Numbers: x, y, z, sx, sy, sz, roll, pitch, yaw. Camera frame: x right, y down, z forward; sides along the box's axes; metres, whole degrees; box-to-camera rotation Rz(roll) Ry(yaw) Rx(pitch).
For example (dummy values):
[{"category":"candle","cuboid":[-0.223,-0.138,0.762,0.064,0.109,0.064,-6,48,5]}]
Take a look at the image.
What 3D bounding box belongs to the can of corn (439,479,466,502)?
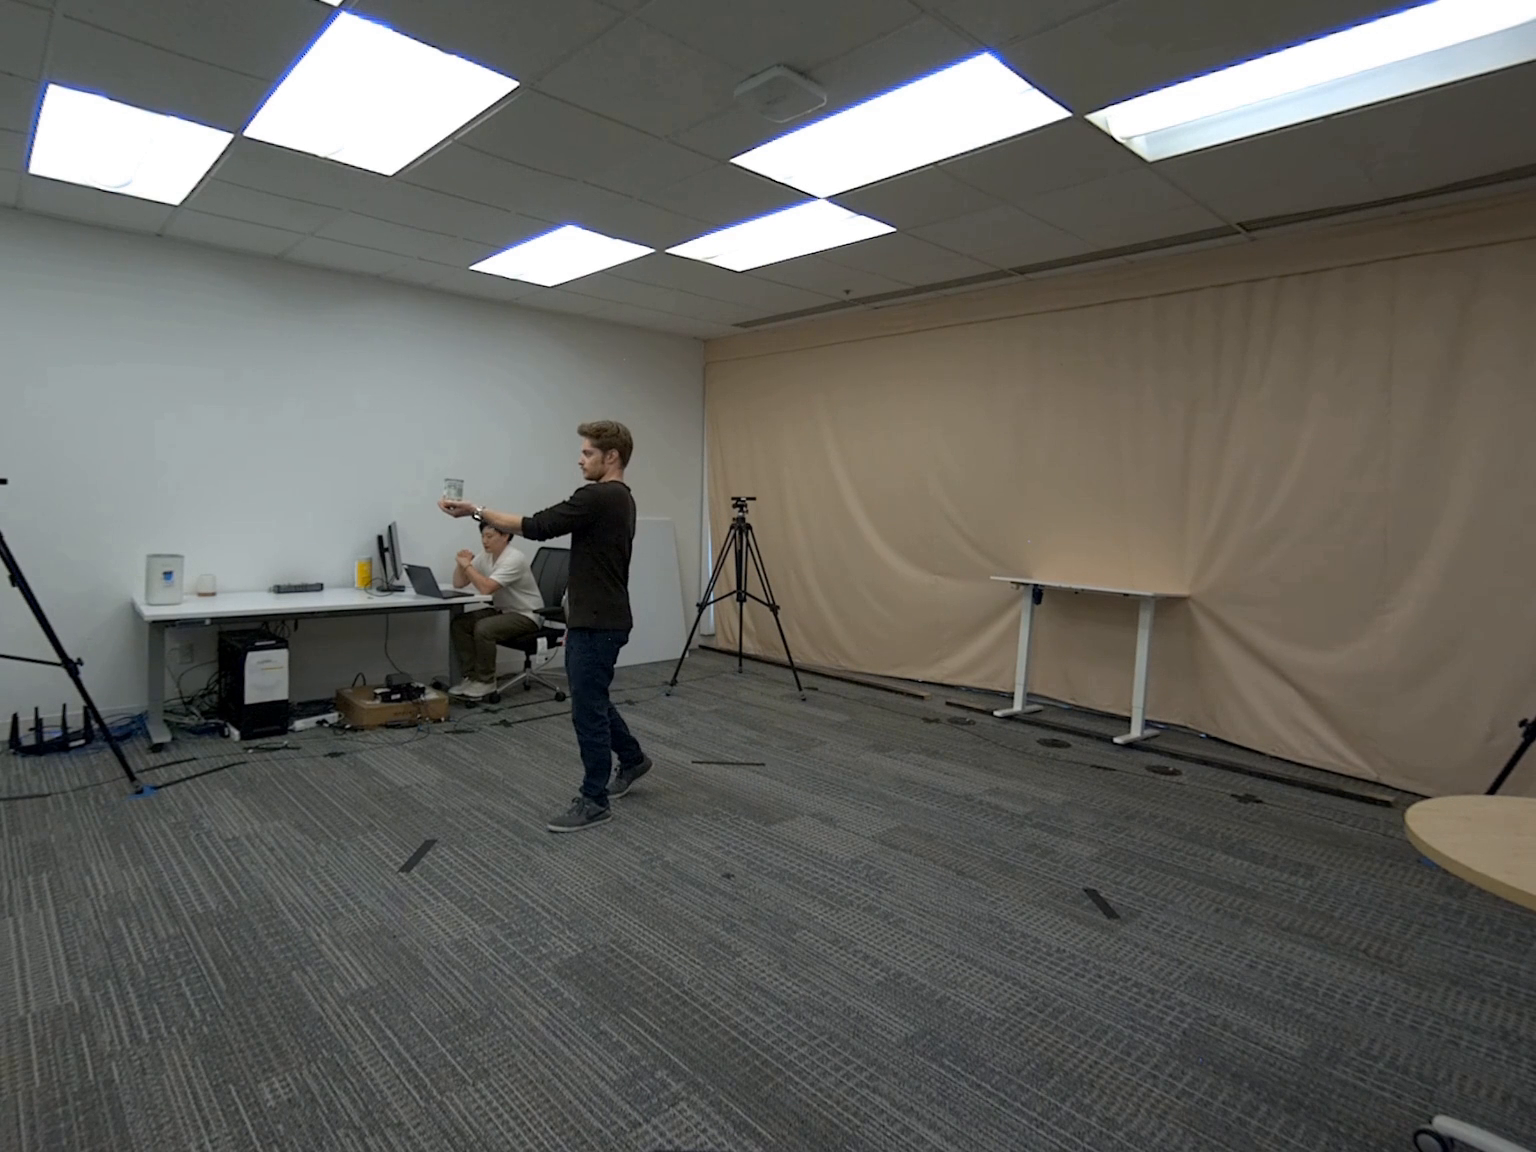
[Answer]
[{"category":"can of corn","cuboid":[-1.284,-0.333,3.440,0.074,0.111,0.074,4,-1,-1]}]
